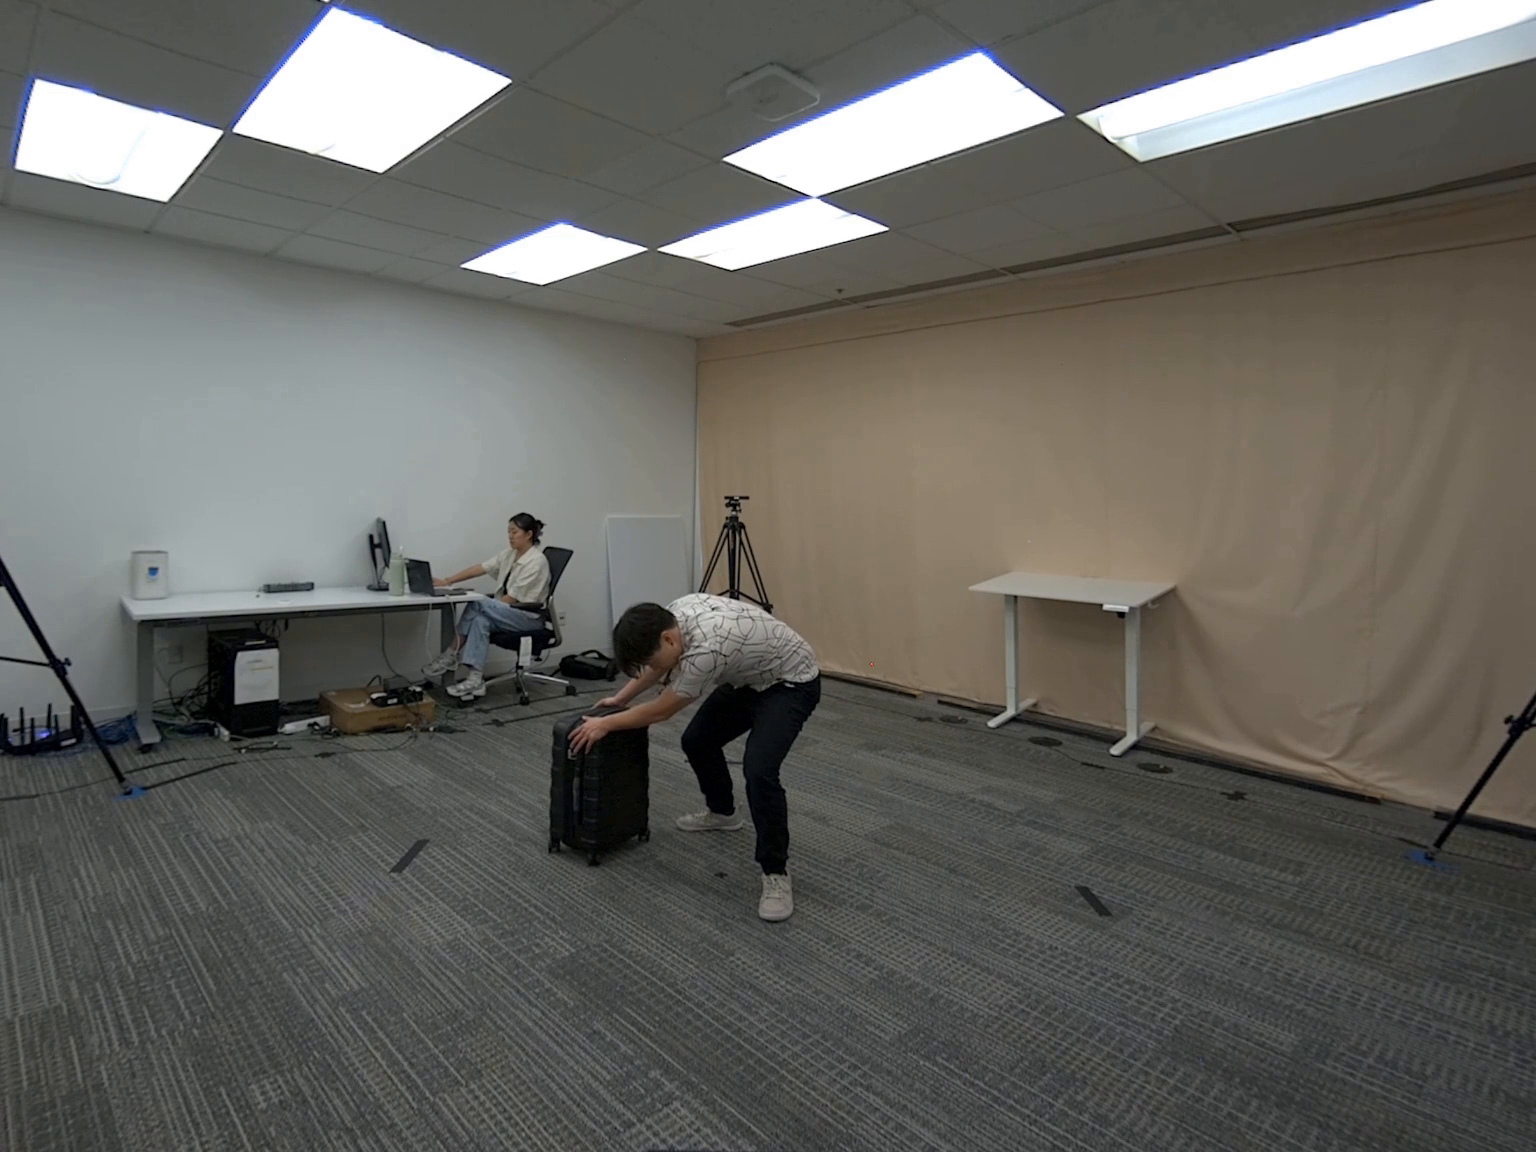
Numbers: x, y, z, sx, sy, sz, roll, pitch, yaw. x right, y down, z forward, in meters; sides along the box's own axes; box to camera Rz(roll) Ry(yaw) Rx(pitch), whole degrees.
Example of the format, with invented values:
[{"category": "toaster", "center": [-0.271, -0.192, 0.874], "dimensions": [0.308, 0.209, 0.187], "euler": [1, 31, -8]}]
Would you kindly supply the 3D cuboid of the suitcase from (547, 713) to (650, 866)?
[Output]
[{"category": "suitcase", "center": [-0.665, 0.804, 3.301], "dimensions": [0.254, 0.547, 0.368], "euler": [4, 6, 32]}]
